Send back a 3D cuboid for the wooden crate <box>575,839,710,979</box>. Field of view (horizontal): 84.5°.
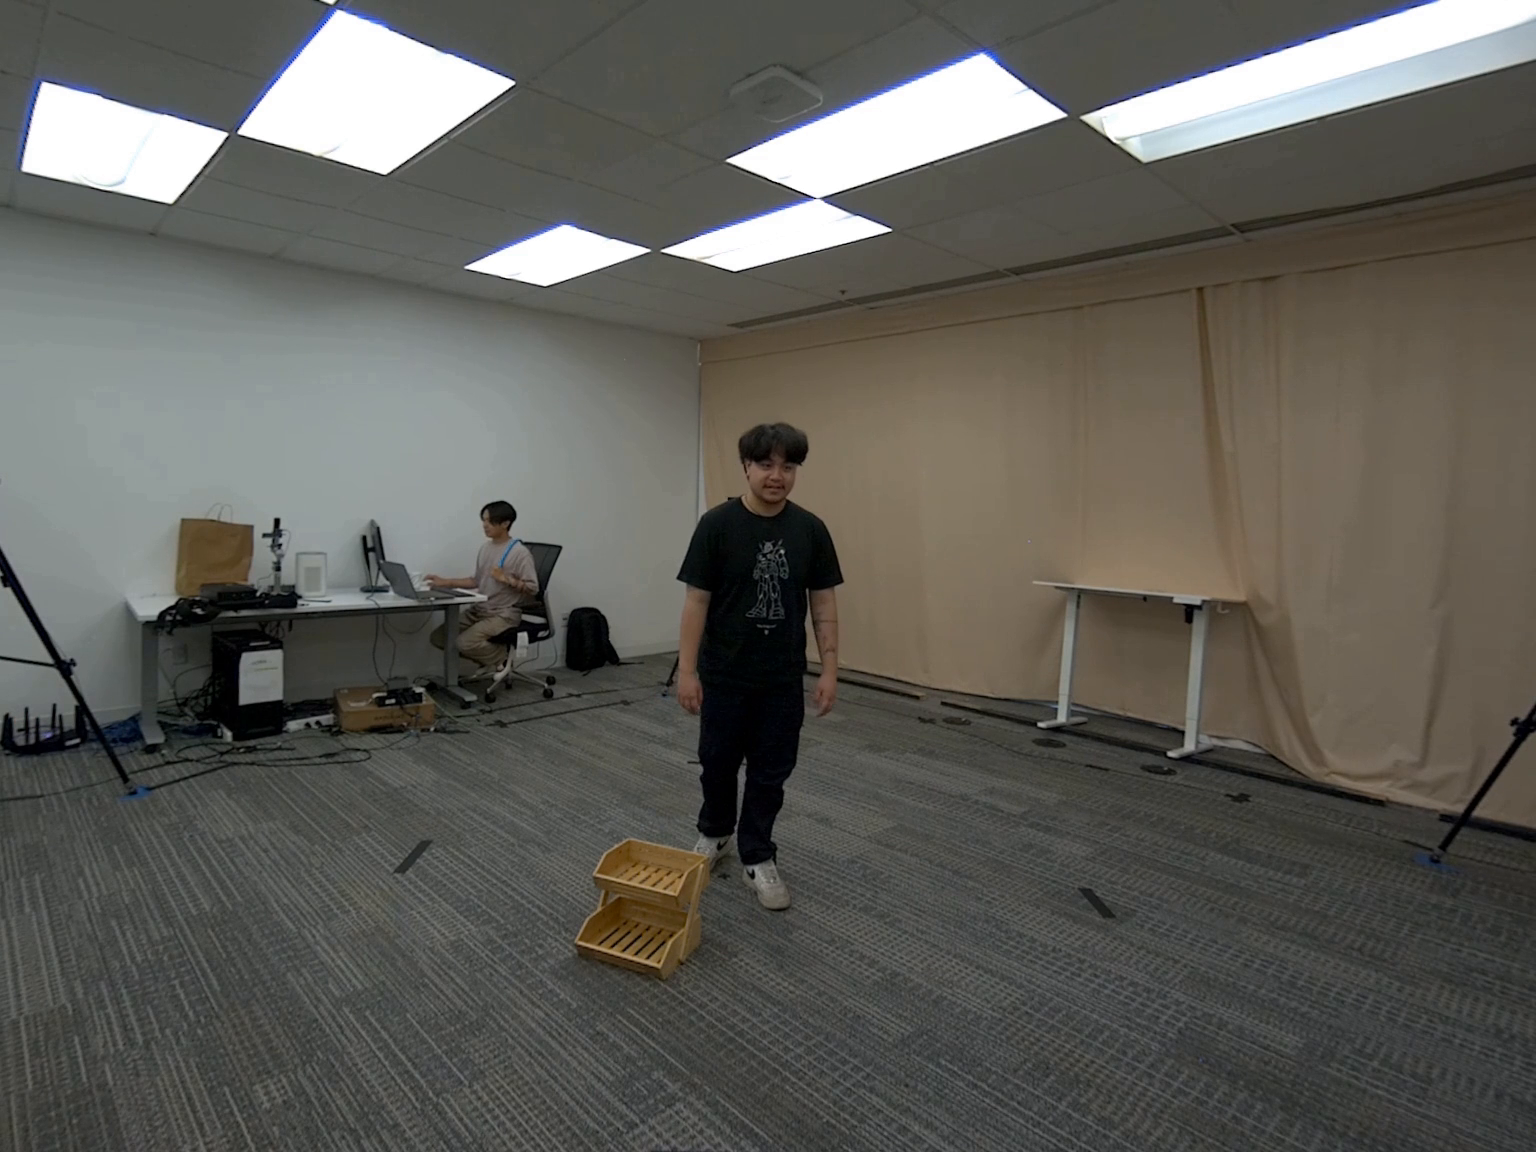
[{"bbox_3d":[-0.398,1.019,2.591,0.330,0.272,0.297,3,4,24],"label":"wooden crate"}]
